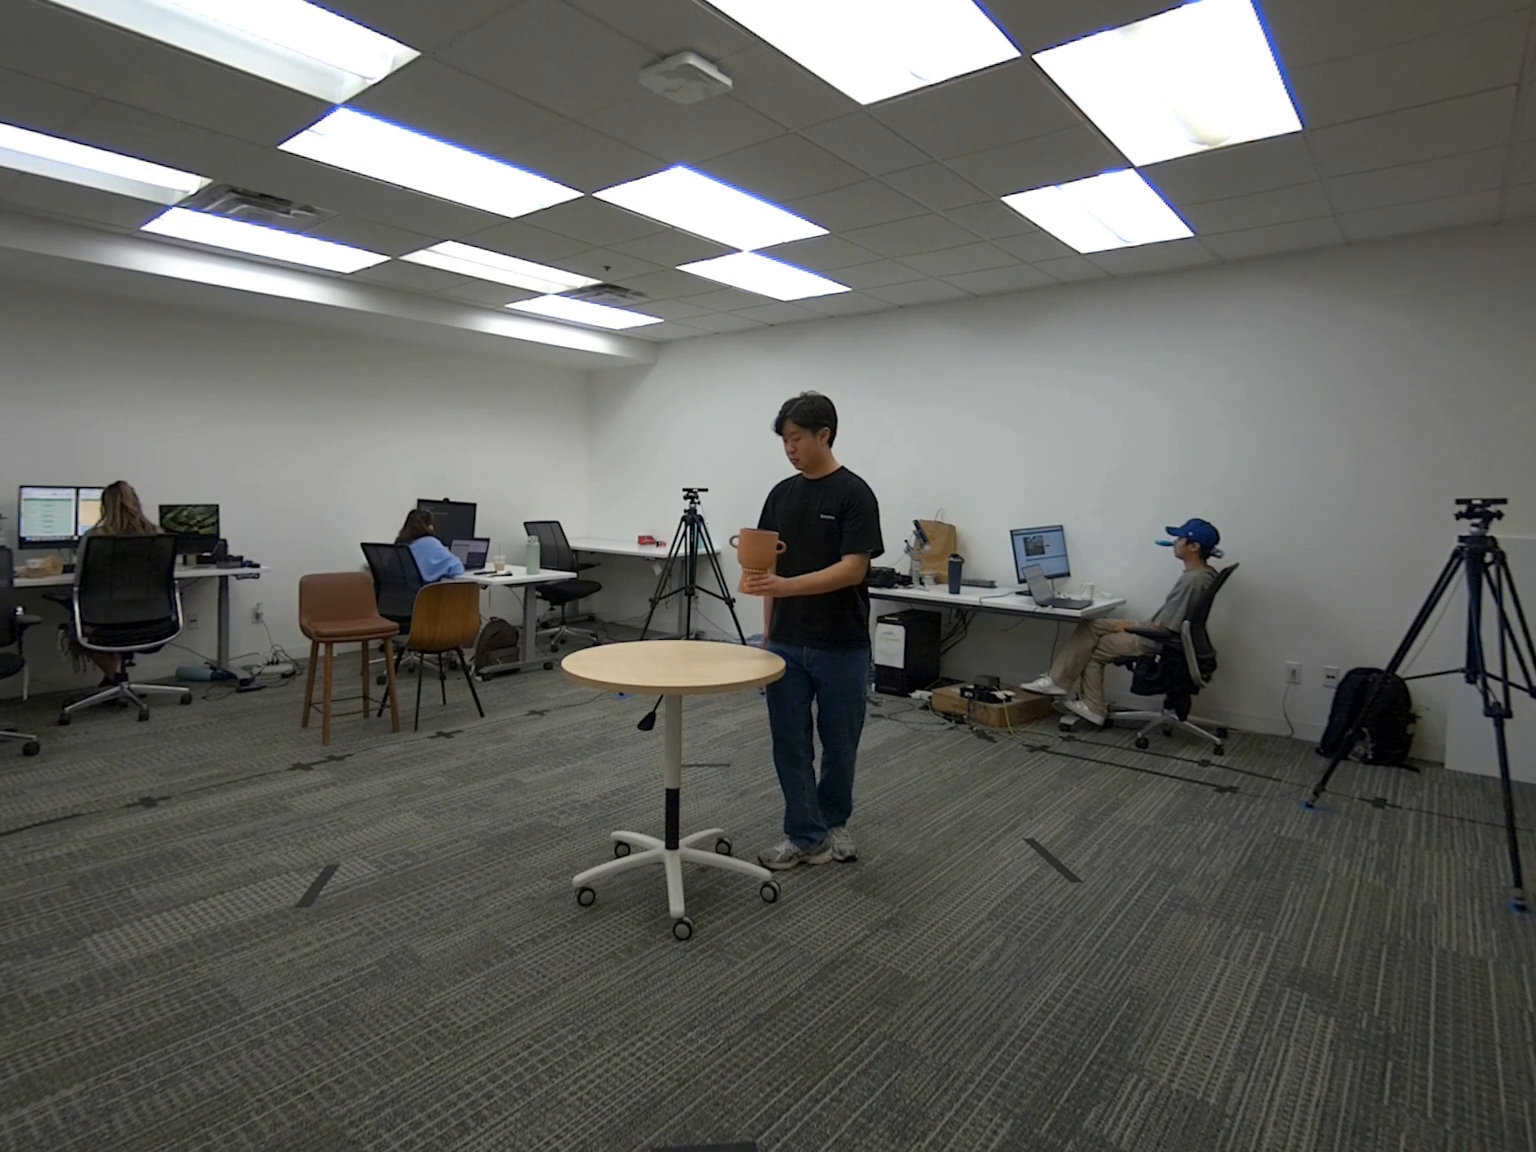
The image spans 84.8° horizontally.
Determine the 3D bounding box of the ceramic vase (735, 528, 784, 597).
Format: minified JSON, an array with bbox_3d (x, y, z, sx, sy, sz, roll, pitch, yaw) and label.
[{"bbox_3d":[-0.047,-0.052,2.950,0.130,0.219,0.164,1,6,-44],"label":"ceramic vase"}]
